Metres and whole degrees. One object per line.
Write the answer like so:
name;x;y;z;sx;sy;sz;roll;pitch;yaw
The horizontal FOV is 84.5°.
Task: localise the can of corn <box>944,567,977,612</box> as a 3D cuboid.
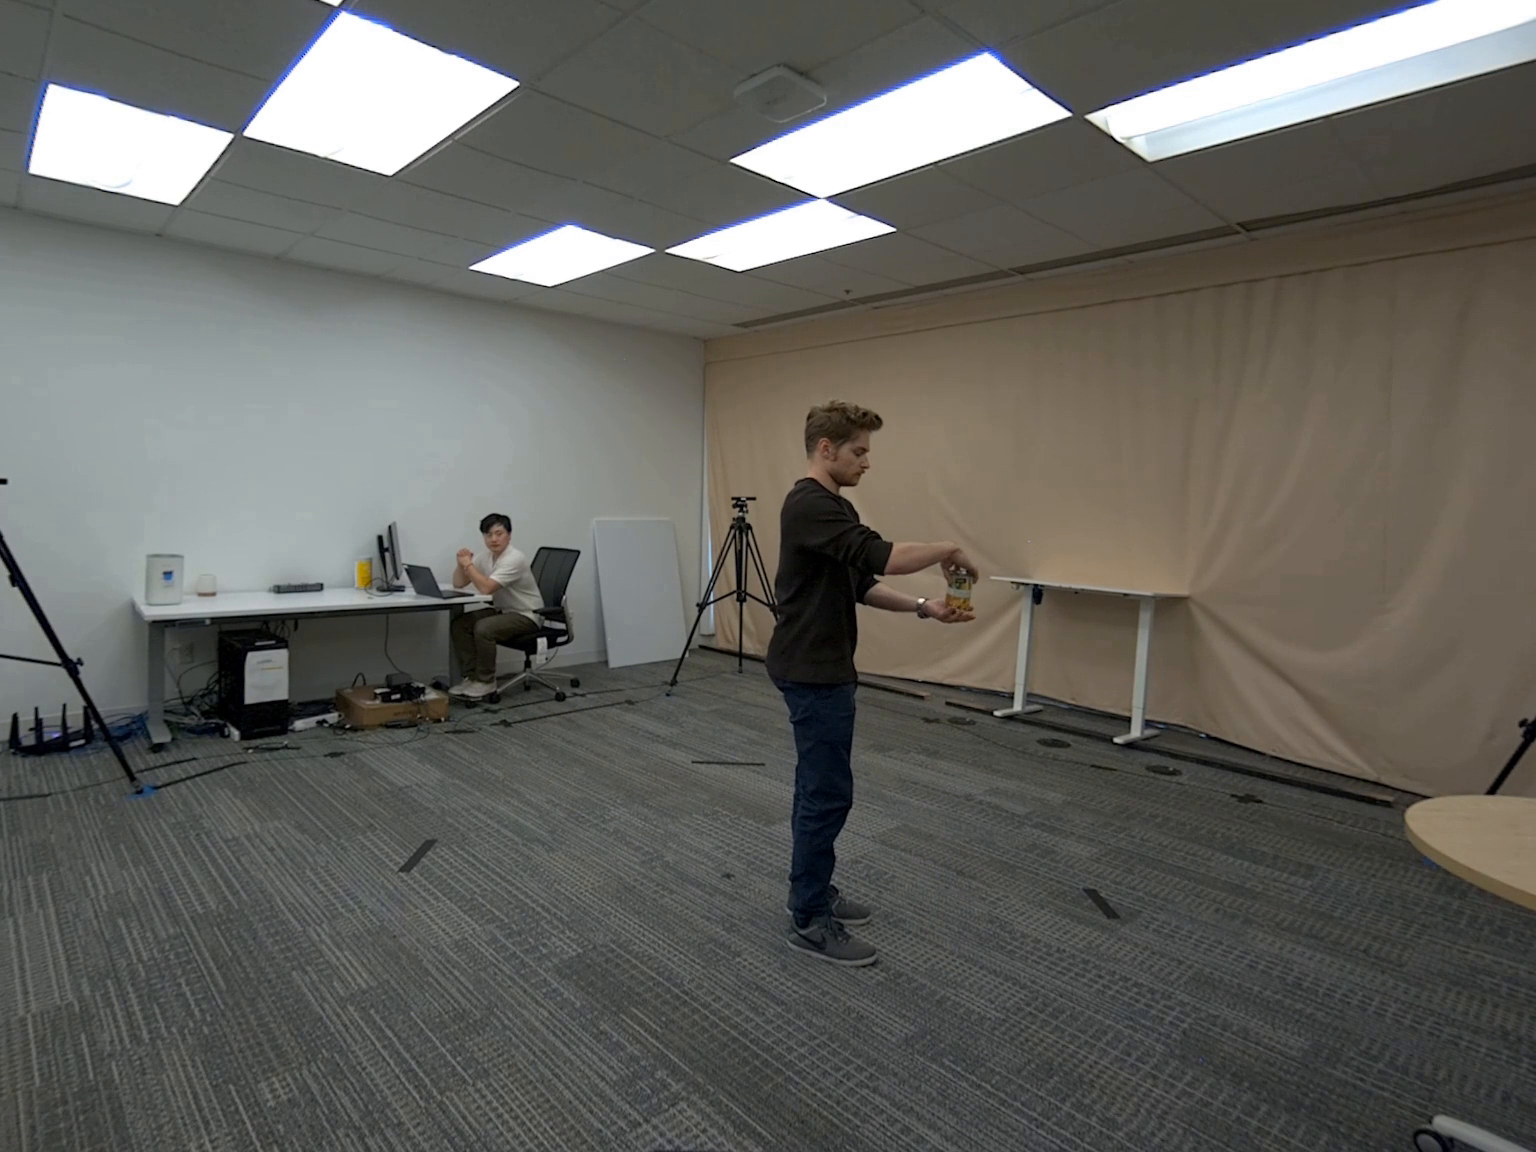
can of corn;0.570;0.044;2.574;0.074;0.110;0.075;4;12;-2
